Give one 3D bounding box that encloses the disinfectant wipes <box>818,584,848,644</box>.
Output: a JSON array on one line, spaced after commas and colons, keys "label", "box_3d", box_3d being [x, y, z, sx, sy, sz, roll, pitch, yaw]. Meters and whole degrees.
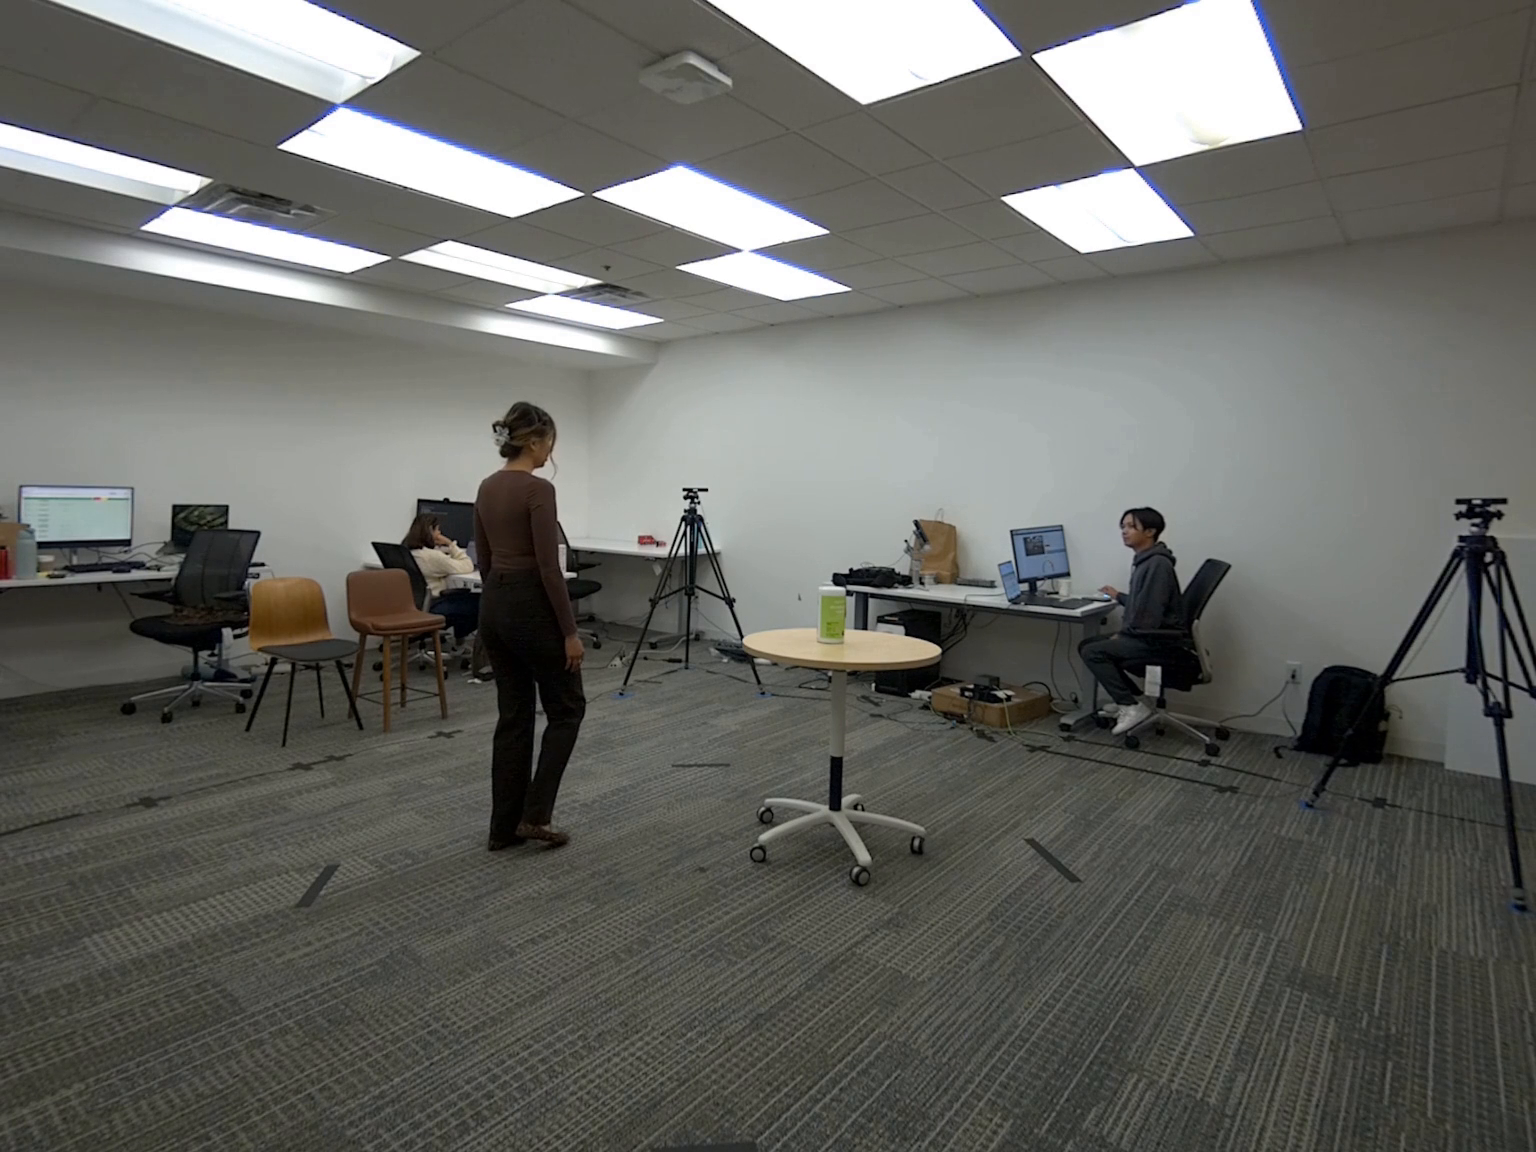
[{"label": "disinfectant wipes", "box_3d": [0.238, 0.153, 3.357, 0.117, 0.217, 0.118, 3, 4, -2]}]
